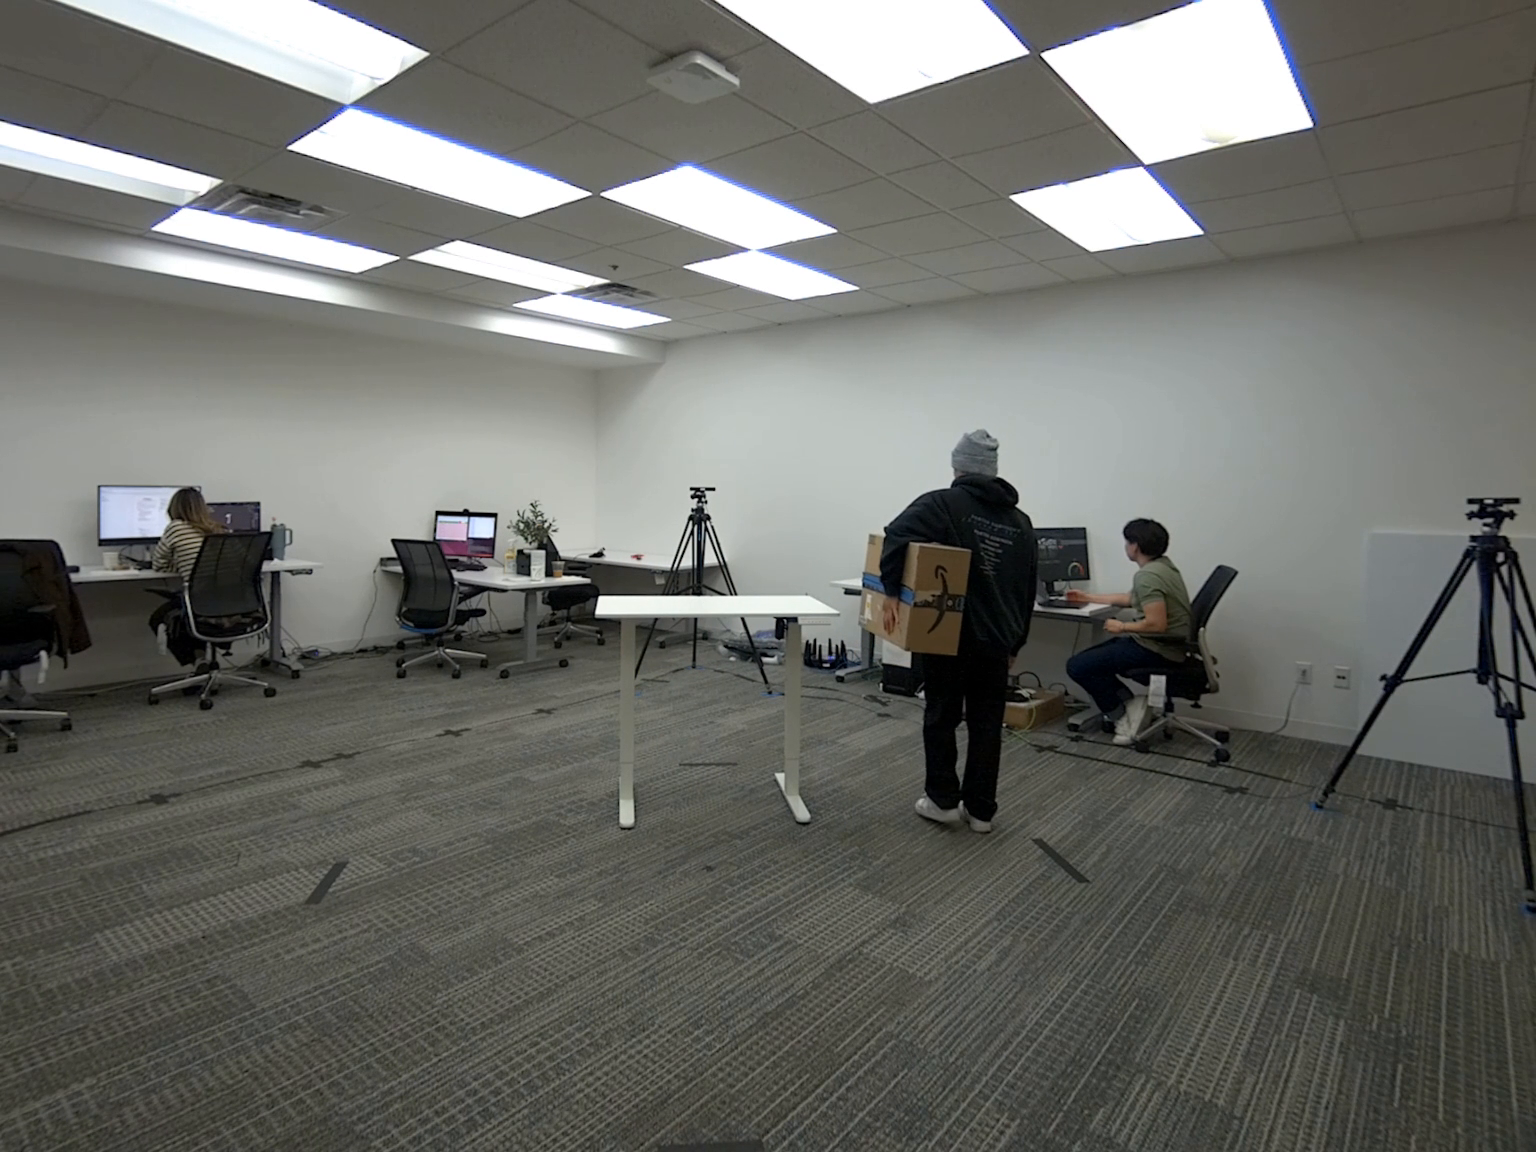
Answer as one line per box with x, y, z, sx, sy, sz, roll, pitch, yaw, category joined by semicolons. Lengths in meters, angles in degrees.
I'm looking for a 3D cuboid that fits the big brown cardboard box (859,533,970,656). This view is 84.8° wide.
0.578;0.052;3.553;0.230;0.416;0.598;5;5;-13;big brown cardboard box
